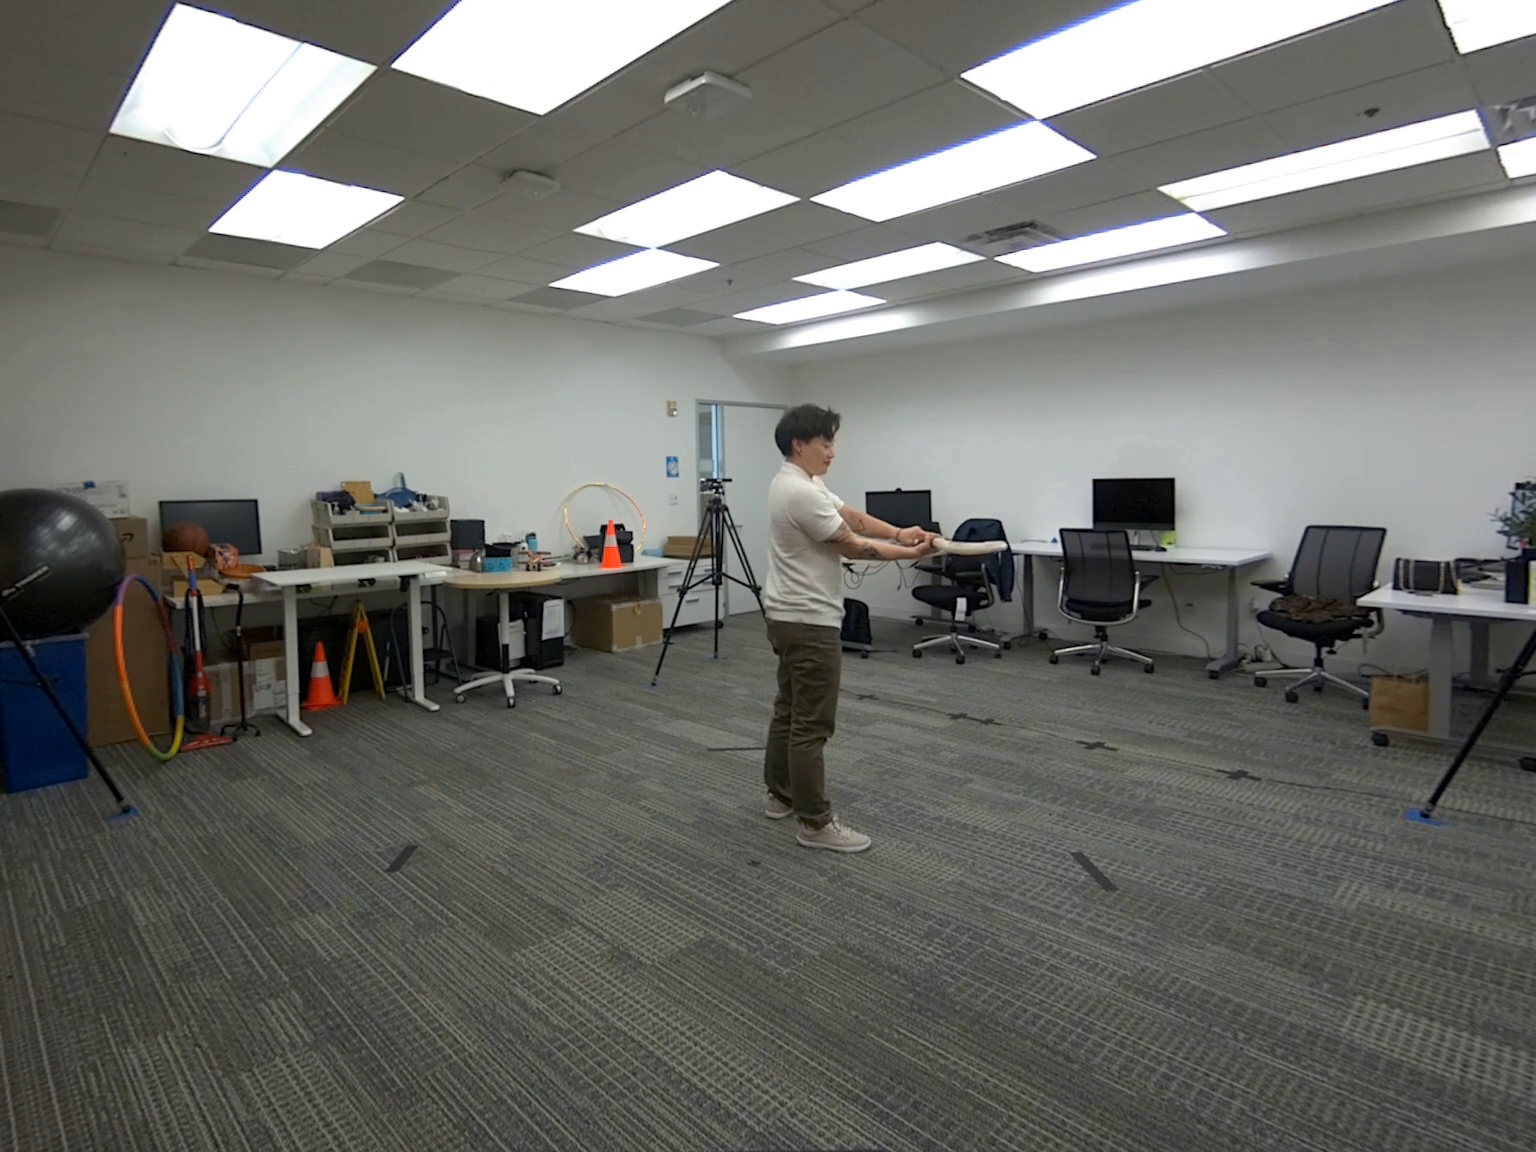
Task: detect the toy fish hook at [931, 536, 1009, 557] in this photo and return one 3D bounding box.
[{"bbox_3d":[0.683,-0.110,3.113,0.222,0.048,0.516,-1,8,-15],"label":"toy fish hook"}]
